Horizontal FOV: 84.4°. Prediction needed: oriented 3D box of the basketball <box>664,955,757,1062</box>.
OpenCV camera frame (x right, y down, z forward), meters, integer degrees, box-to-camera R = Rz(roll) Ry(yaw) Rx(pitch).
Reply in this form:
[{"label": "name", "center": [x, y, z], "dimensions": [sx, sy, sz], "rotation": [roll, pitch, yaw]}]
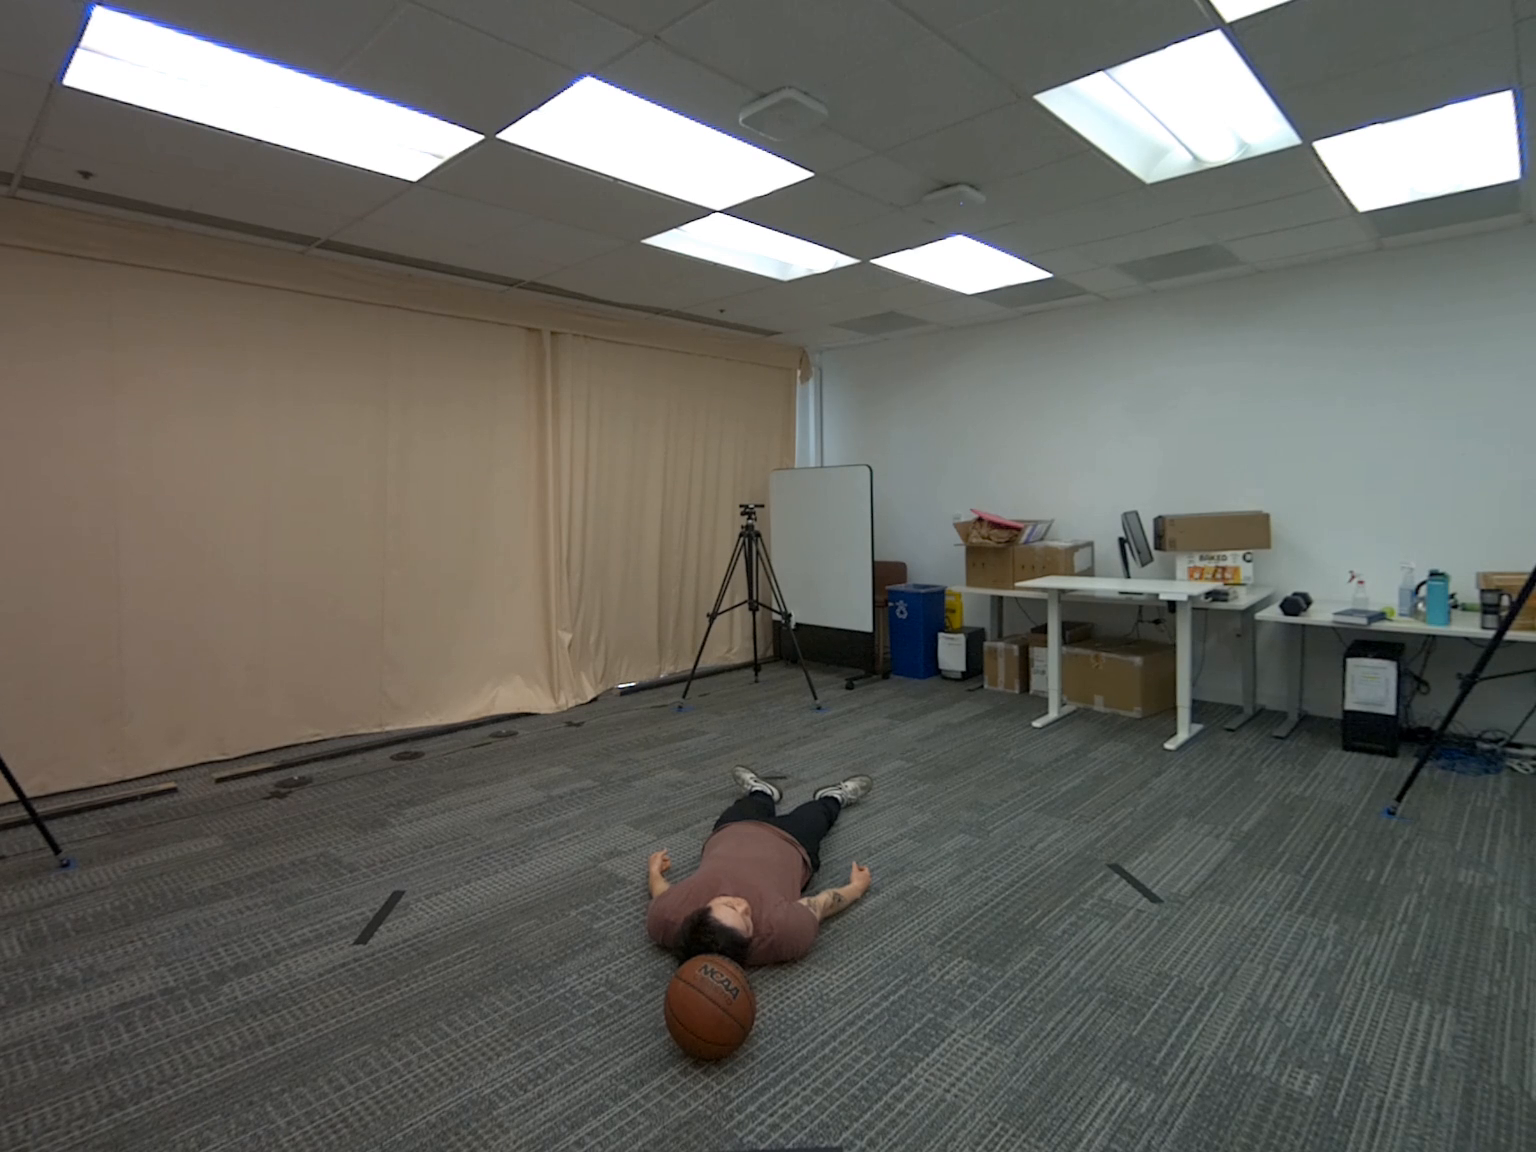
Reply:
[{"label": "basketball", "center": [-0.138, 1.096, 2.143], "dimensions": [0.235, 0.235, 0.237], "rotation": [3, 5, -2]}]
